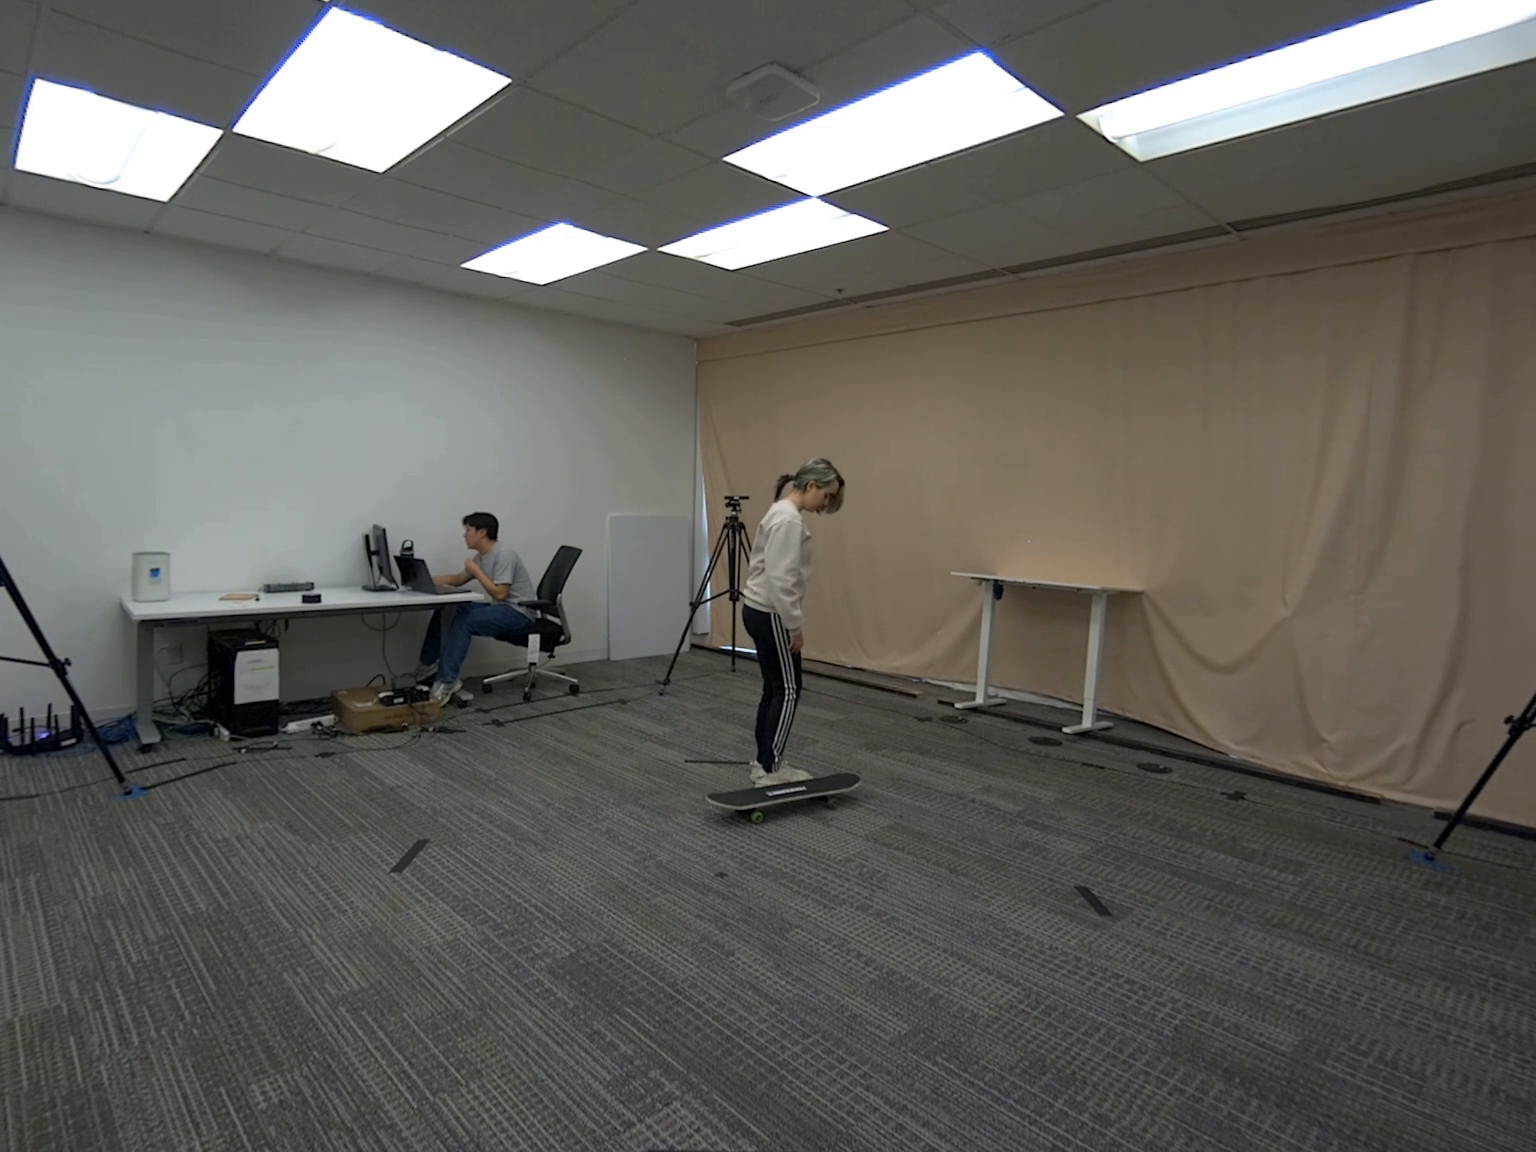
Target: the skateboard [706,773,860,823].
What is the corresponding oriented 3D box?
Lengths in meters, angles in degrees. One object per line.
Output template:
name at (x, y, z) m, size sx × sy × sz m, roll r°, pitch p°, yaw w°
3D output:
skateboard at (0.070, 0.990, 3.774) m, size 0.769 × 0.110 × 0.198 m, roll -1°, pitch 4°, yaw -30°
